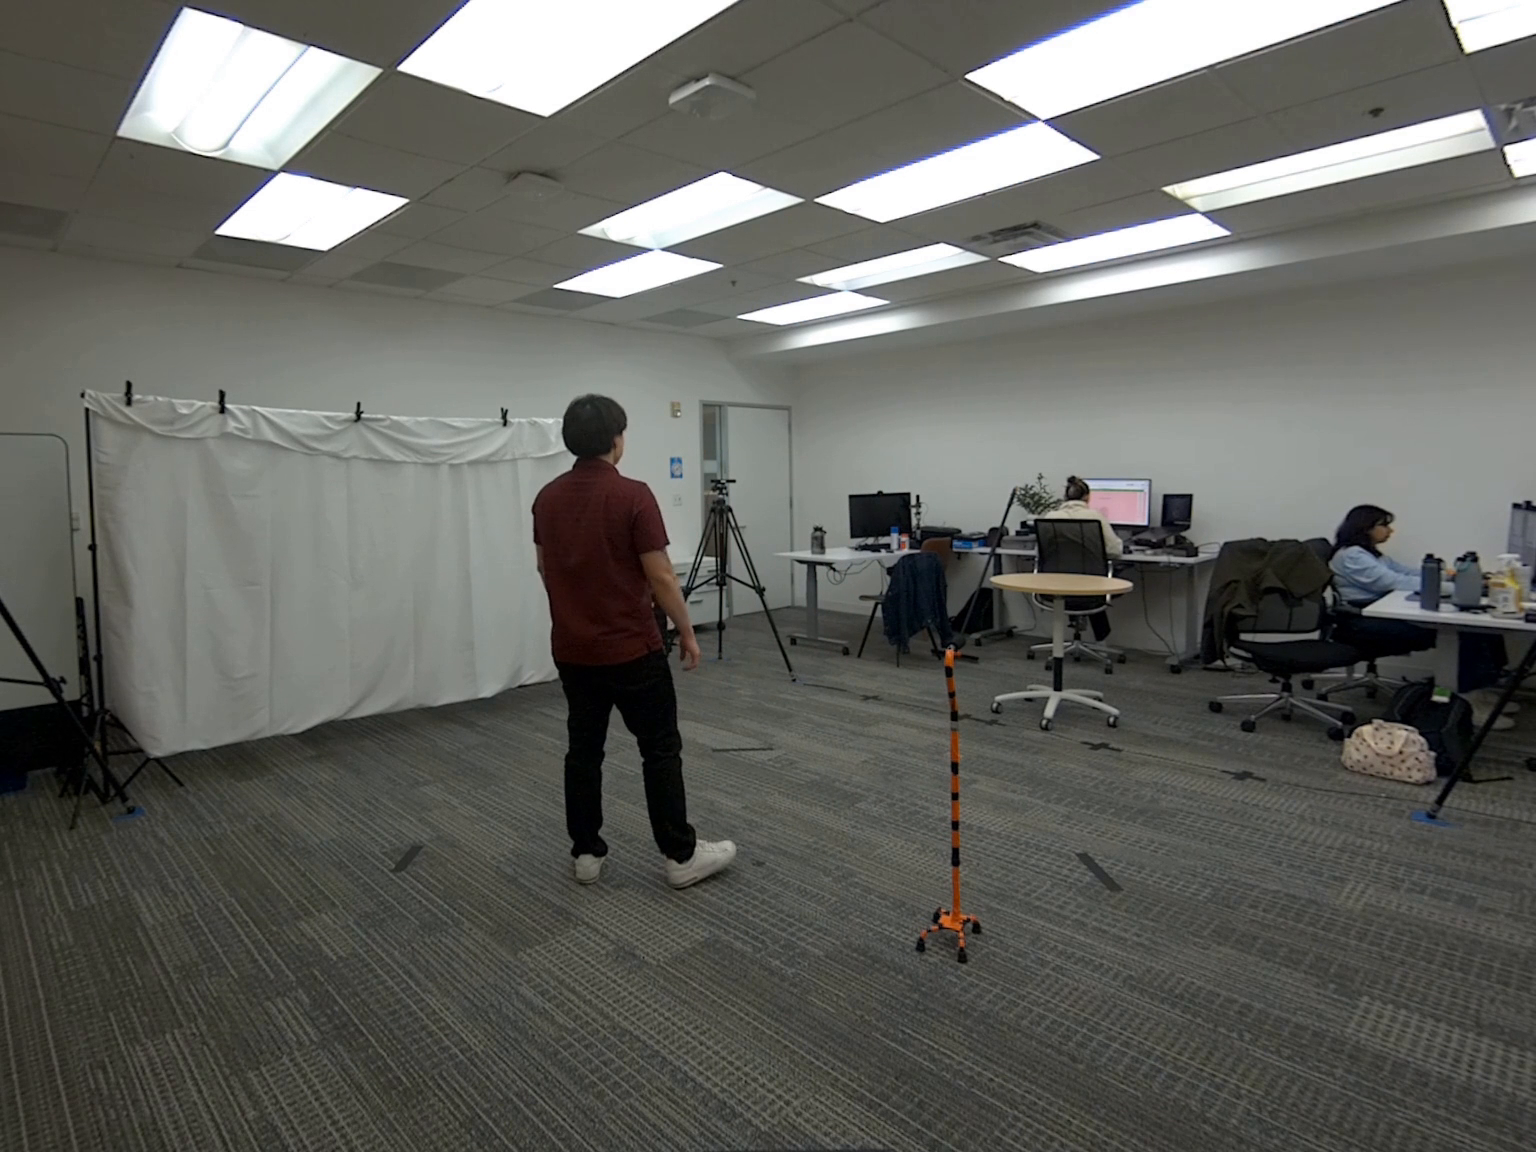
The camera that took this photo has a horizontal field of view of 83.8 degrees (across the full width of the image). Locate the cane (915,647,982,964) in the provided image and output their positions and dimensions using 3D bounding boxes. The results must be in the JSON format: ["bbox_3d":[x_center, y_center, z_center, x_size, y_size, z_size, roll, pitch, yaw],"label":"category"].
[{"bbox_3d":[0.540,0.650,2.533,0.155,0.904,0.202,2,6,27],"label":"cane"}]
